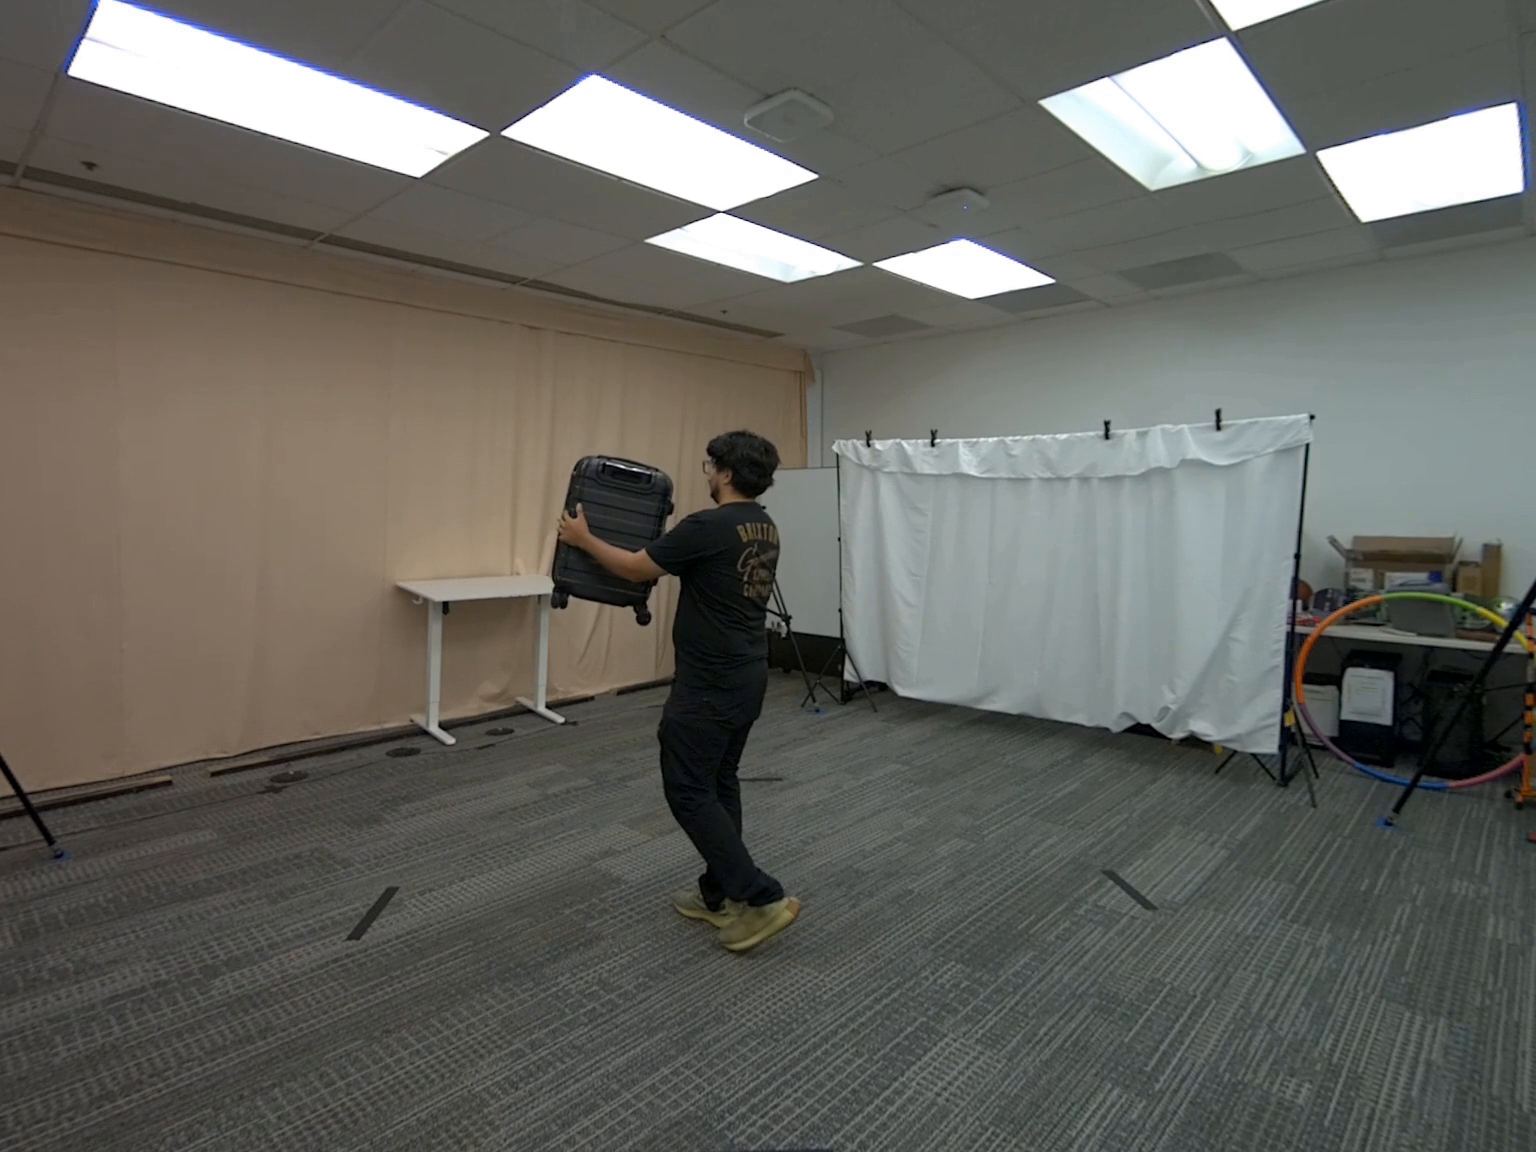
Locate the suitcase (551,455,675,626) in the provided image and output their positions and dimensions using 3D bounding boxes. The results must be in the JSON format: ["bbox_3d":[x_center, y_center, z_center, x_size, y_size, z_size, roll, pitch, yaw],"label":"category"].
[{"bbox_3d":[-0.561,-0.147,3.022,0.371,0.548,0.251,11,5,-10],"label":"suitcase"}]
